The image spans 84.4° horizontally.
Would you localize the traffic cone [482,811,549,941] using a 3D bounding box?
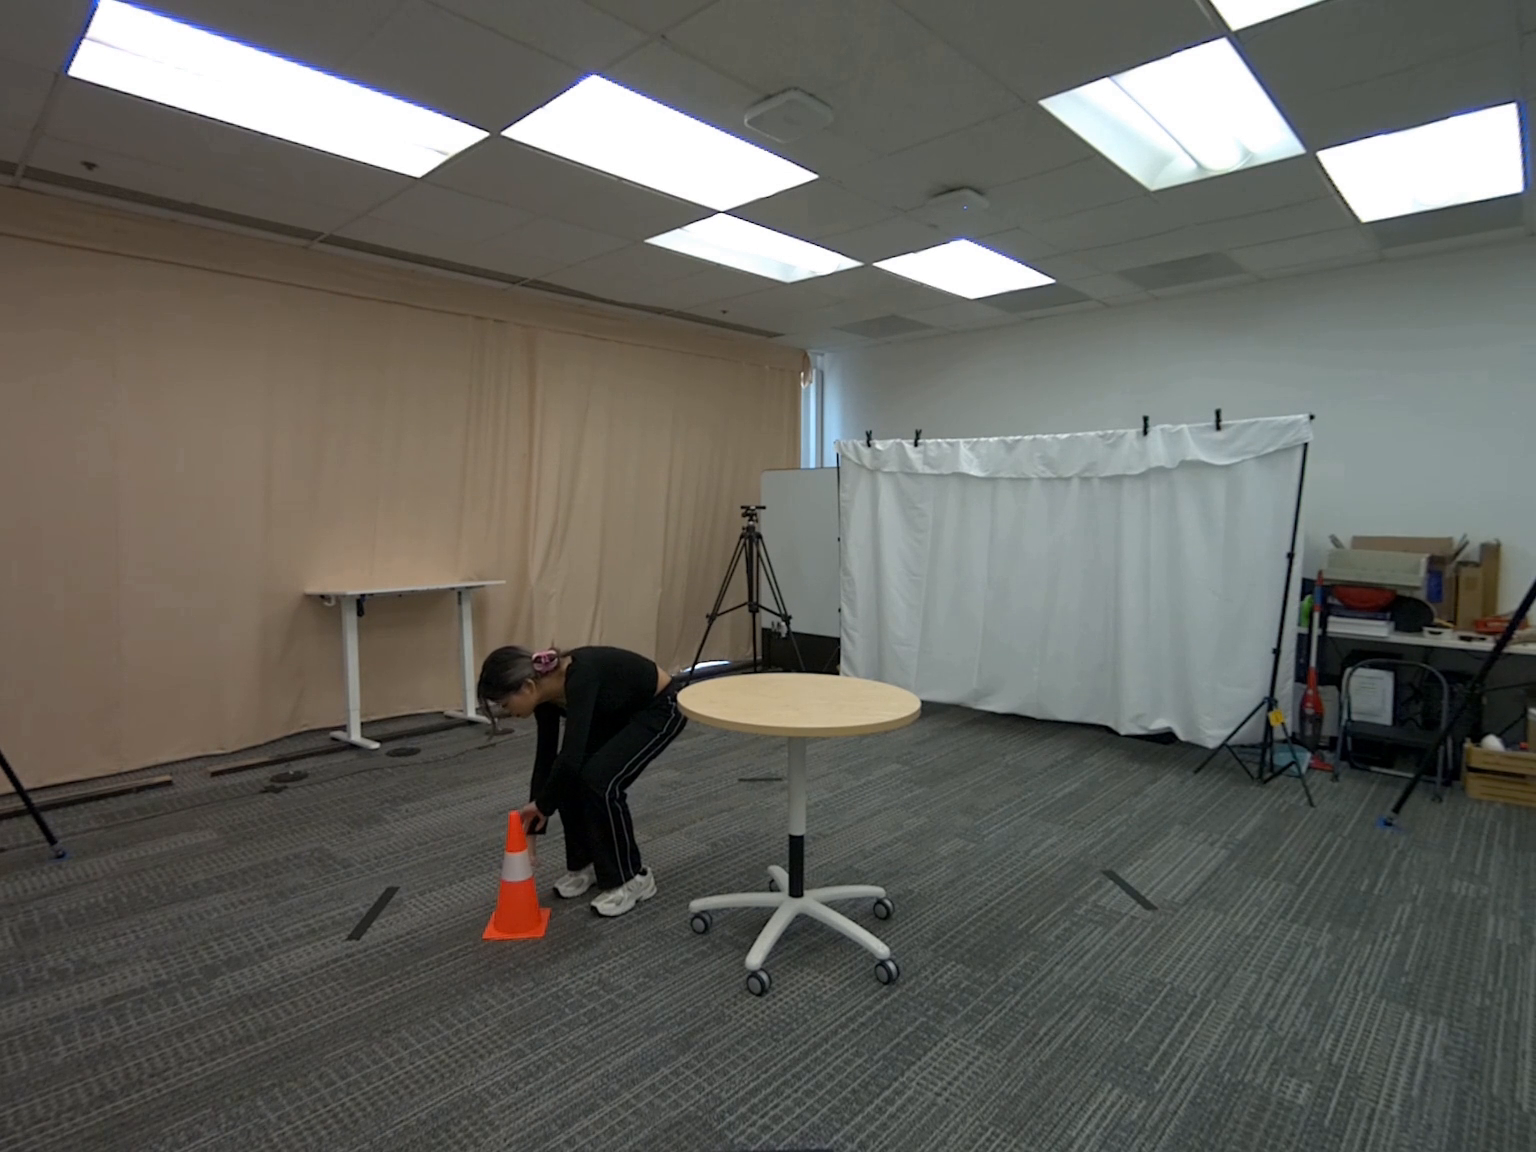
[{"bbox_3d":[-0.826,0.979,2.804,0.204,0.383,0.204,4,4,-3],"label":"traffic cone"}]
